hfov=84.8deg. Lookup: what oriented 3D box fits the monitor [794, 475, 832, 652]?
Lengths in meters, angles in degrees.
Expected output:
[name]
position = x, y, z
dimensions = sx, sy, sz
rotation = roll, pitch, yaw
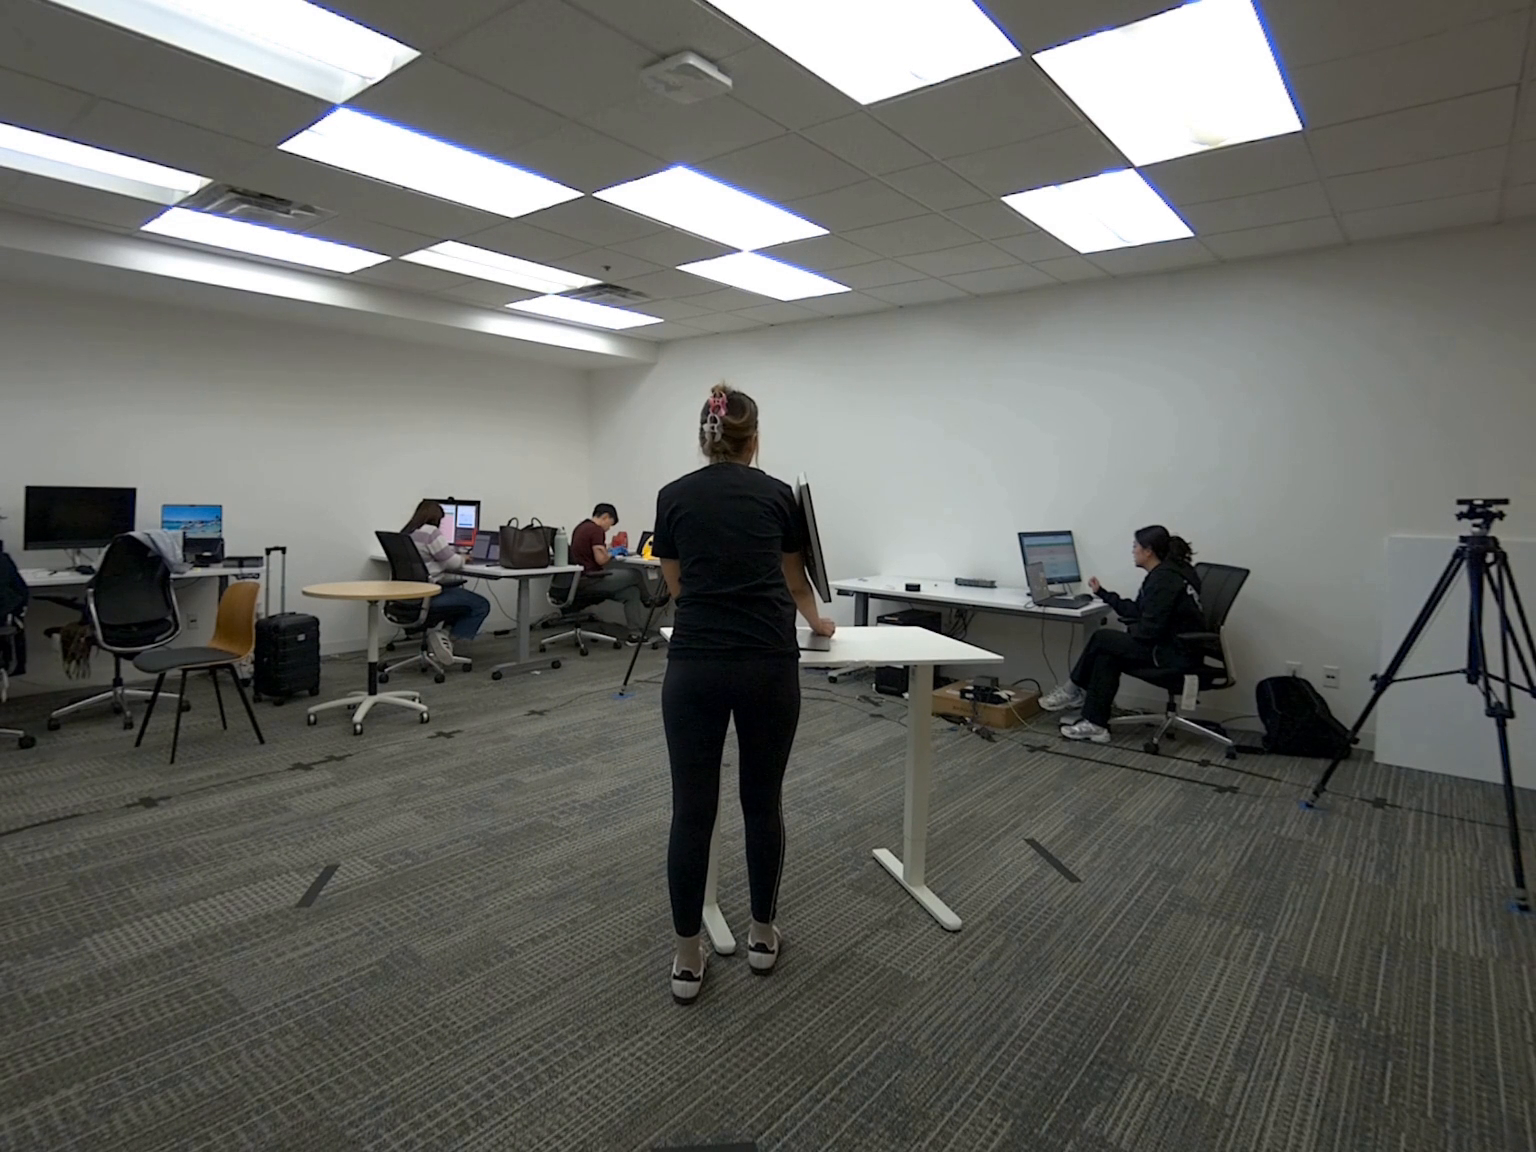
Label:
[monitor]
position = 0.106, -0.047, 2.790
dimensions = 0.188, 0.518, 0.542
rotation = 0, 10, 2
